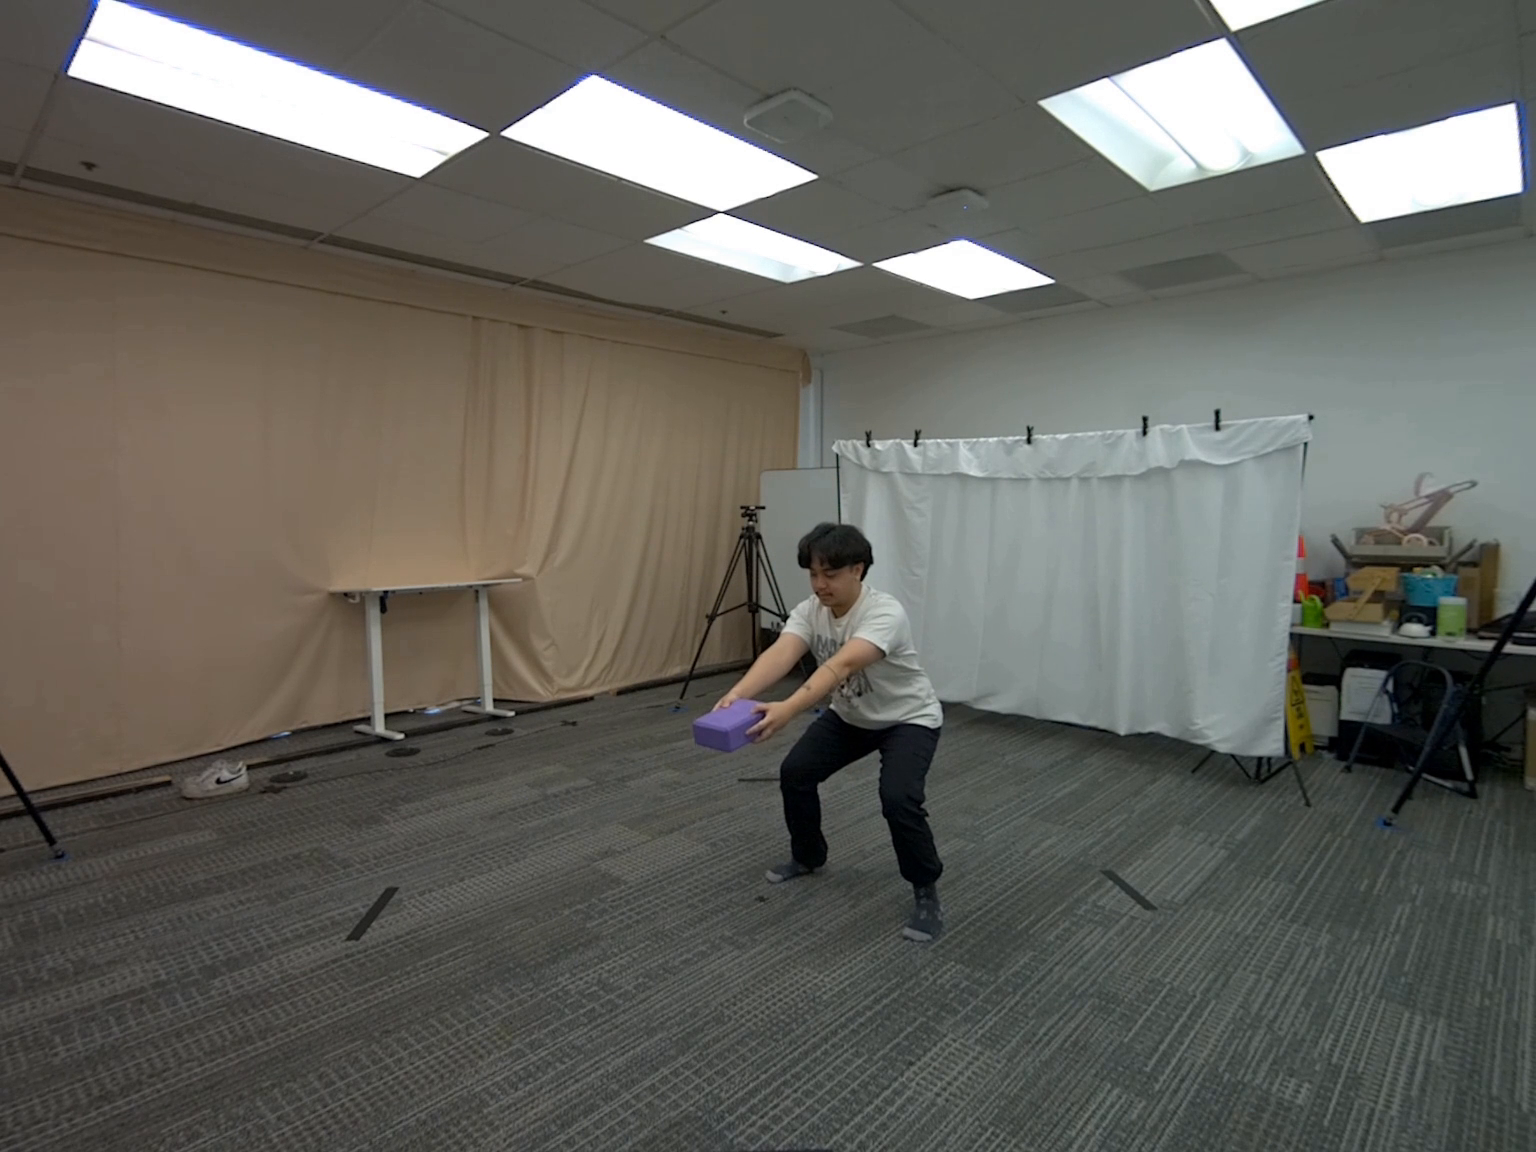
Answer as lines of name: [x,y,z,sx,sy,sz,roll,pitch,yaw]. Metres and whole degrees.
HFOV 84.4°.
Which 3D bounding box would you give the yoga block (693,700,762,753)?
yoga block: [-0.105,0.444,2.533,0.154,0.076,0.223,2,13,38]
